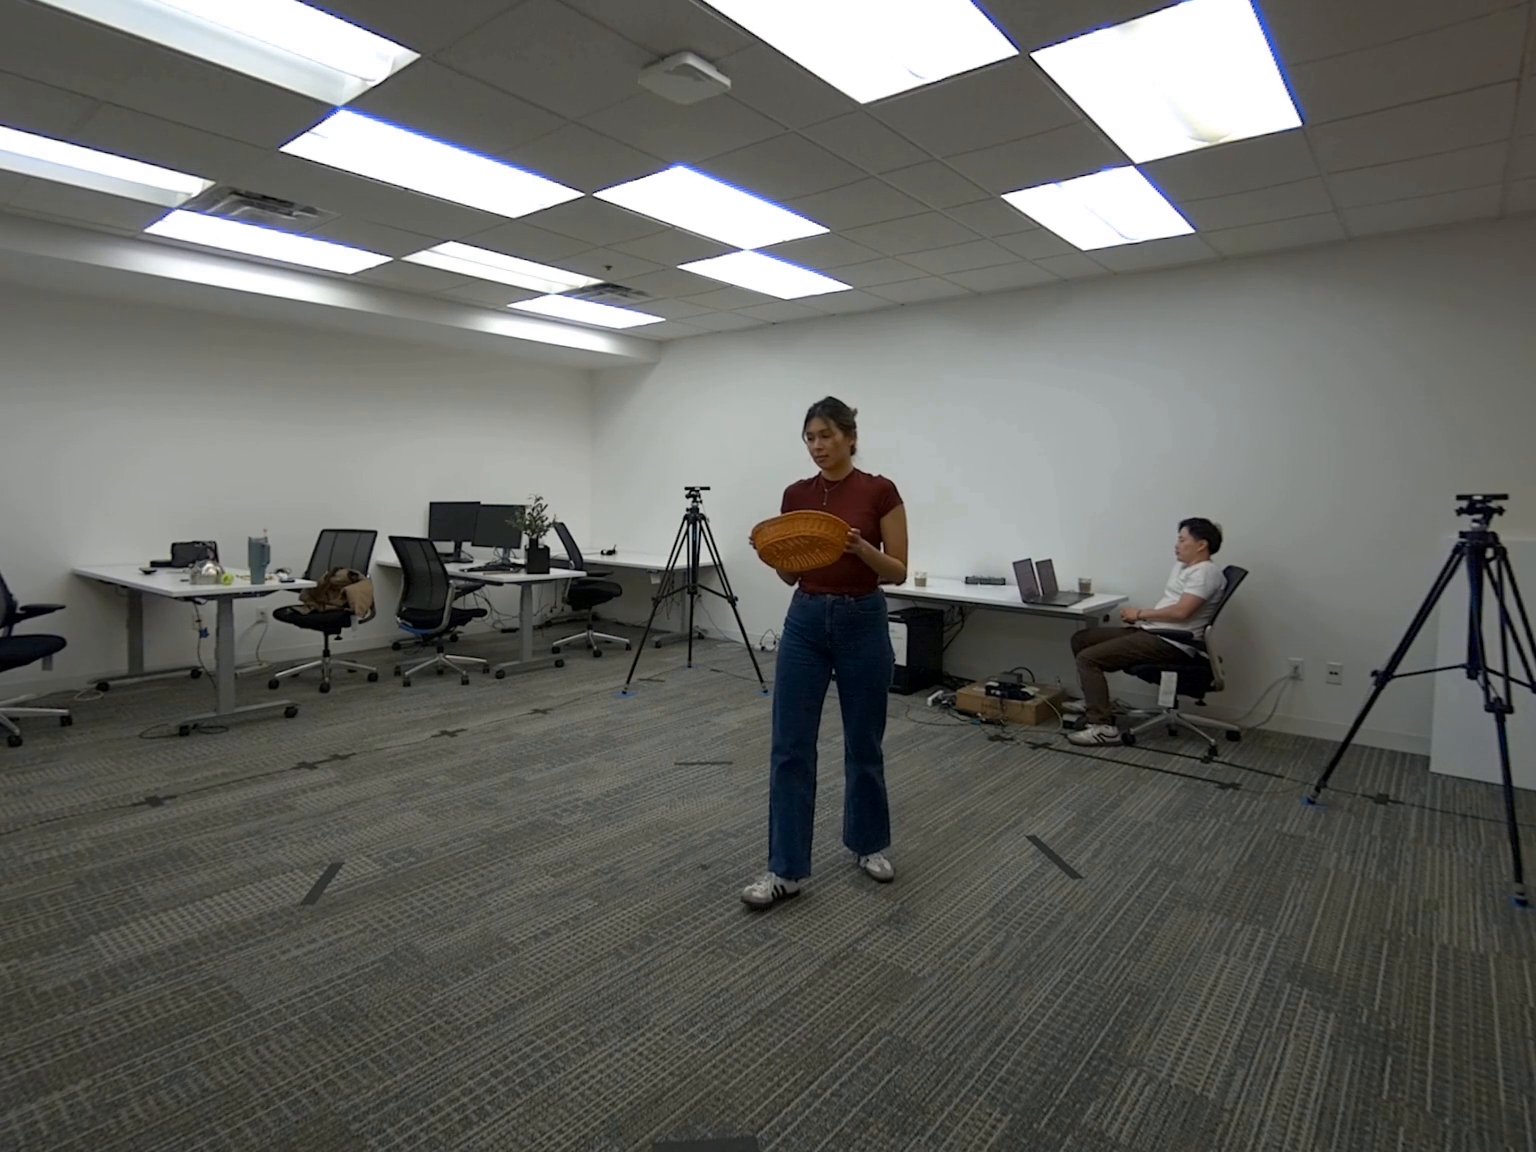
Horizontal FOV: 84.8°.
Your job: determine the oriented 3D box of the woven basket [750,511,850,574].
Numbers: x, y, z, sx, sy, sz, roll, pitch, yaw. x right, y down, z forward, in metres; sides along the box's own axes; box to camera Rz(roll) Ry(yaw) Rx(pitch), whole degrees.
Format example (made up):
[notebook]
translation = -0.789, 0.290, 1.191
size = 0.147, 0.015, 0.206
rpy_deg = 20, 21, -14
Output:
[woven basket]
translation = 0.087, -0.103, 2.689
size = 0.358, 0.075, 0.242
rpy_deg = -14, -40, 38
